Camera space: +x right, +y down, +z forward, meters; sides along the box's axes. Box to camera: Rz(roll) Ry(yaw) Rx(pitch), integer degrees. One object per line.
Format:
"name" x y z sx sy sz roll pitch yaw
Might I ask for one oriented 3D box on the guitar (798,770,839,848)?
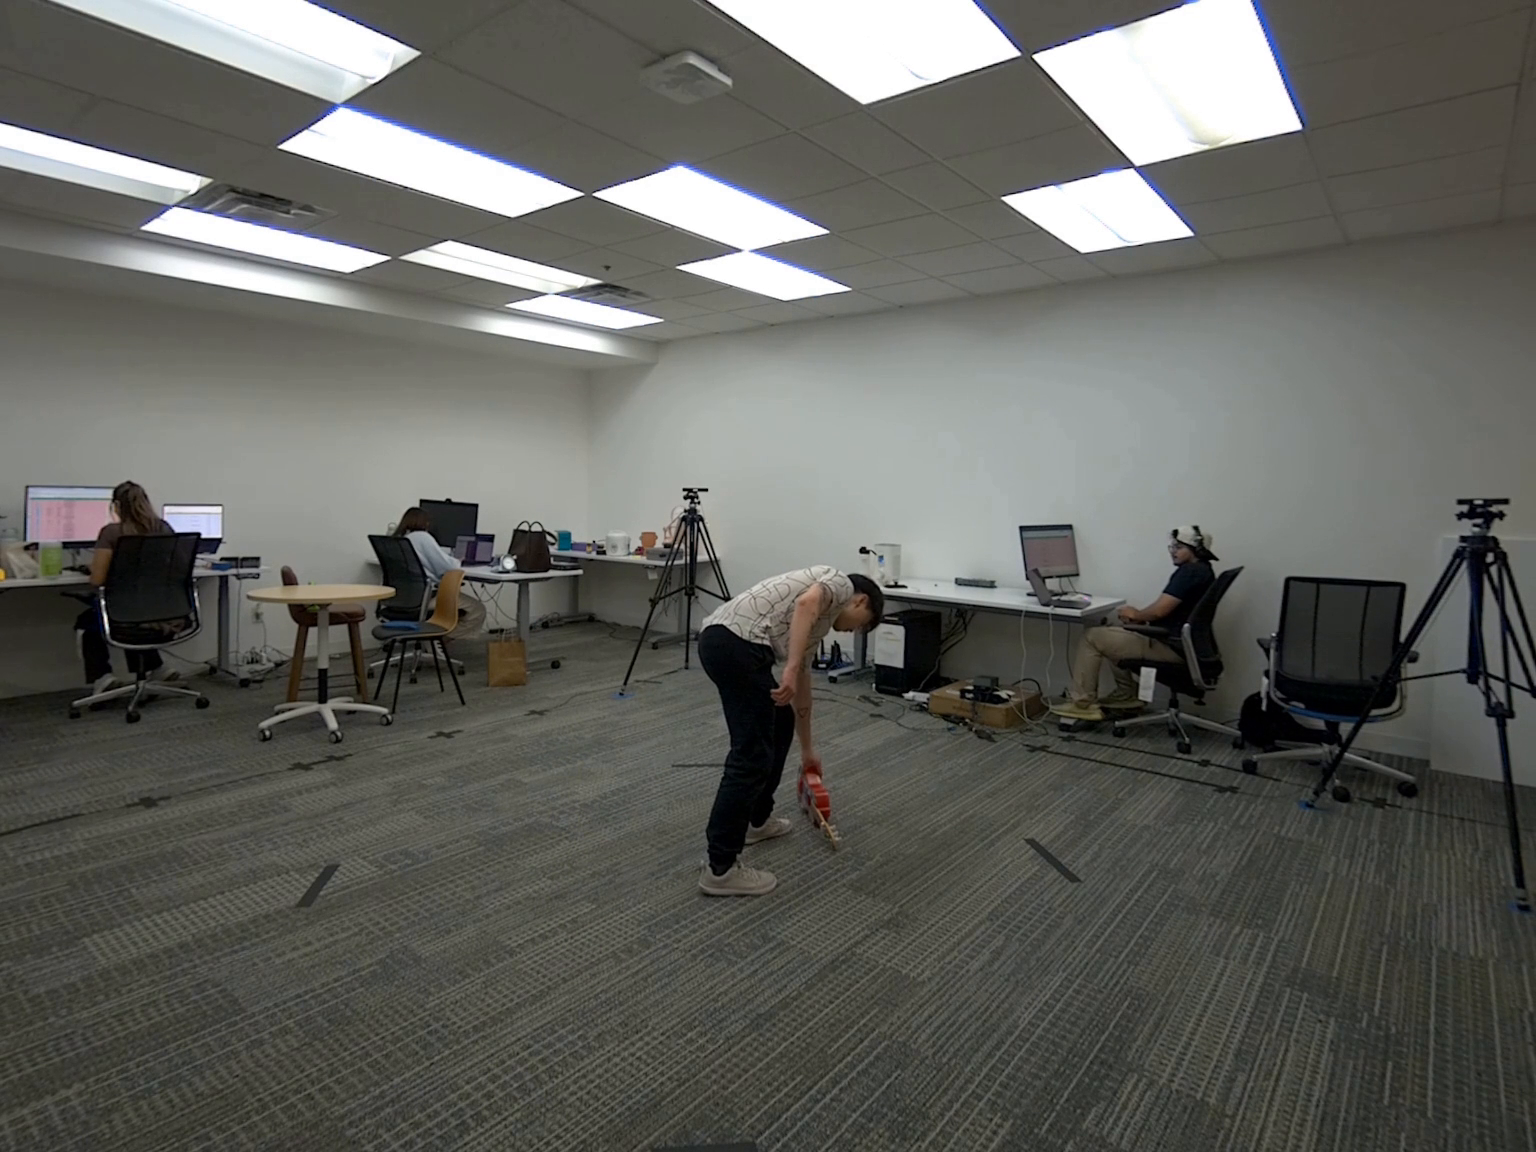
"guitar" 0.206 0.980 3.533 0.070 0.189 0.514 0 23 -15
